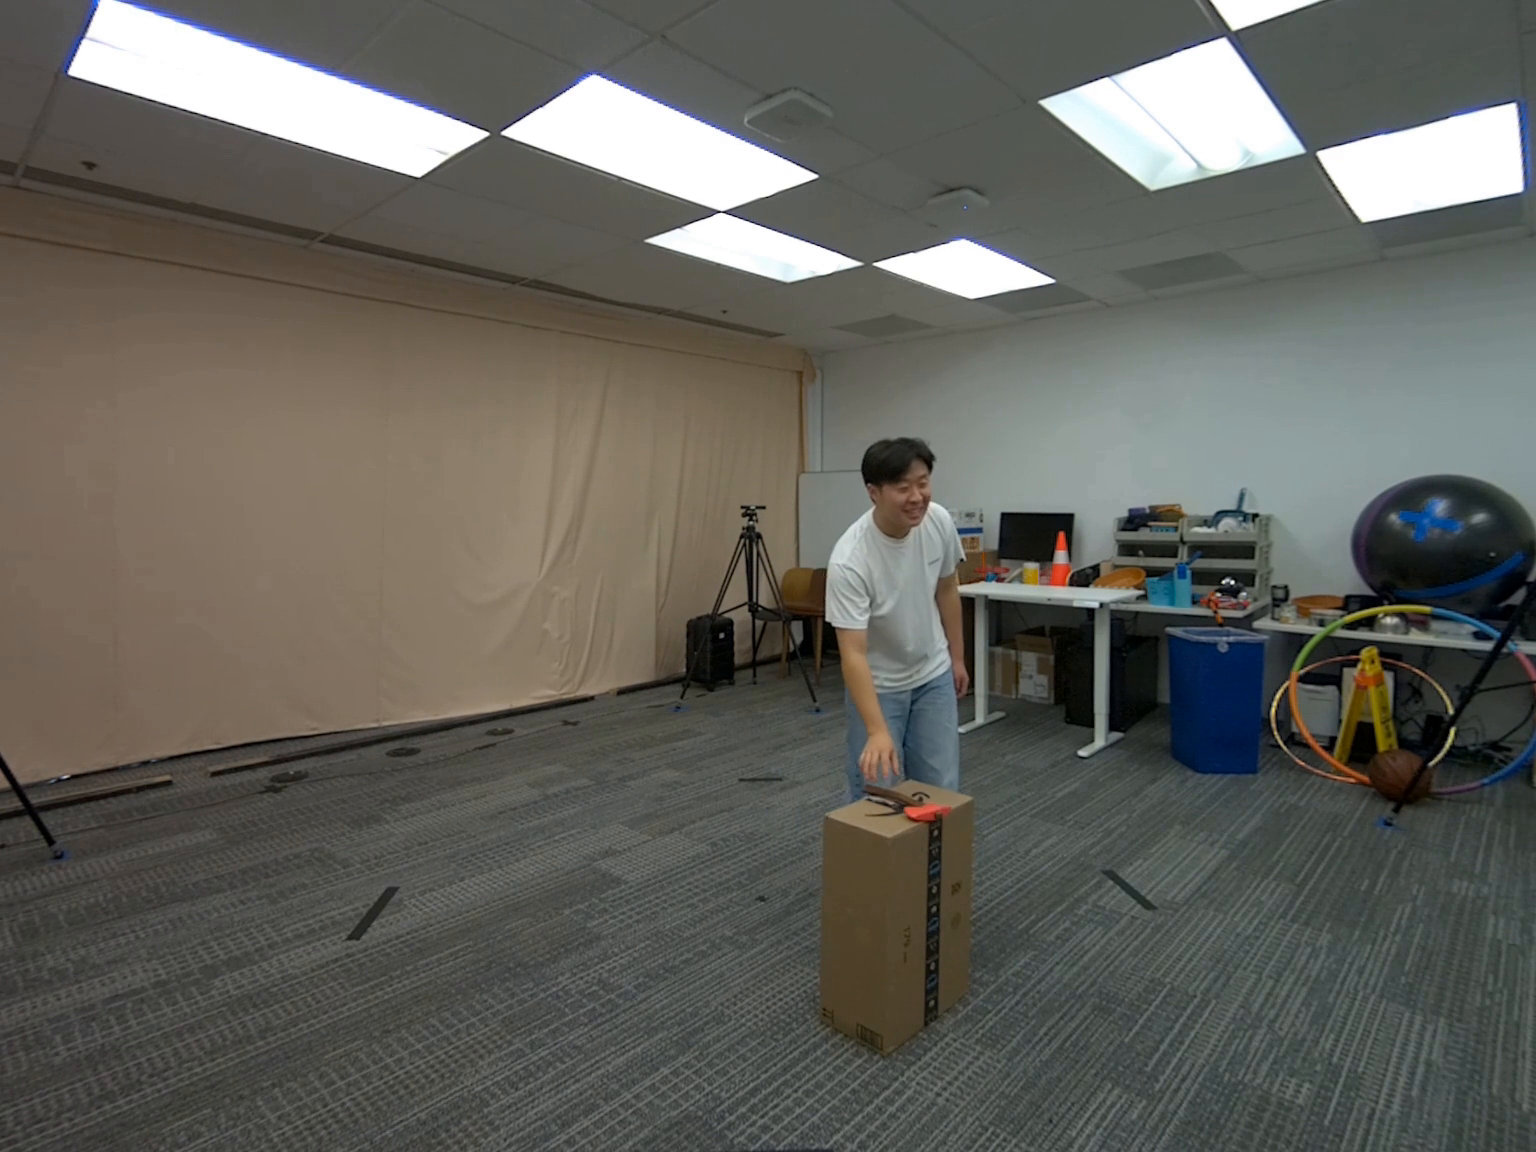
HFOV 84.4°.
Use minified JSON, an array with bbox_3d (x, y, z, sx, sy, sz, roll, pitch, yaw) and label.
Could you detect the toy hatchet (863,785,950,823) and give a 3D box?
[{"bbox_3d":[0.350,0.619,2.303,0.279,0.029,0.127,3,10,41],"label":"toy hatchet"}]
